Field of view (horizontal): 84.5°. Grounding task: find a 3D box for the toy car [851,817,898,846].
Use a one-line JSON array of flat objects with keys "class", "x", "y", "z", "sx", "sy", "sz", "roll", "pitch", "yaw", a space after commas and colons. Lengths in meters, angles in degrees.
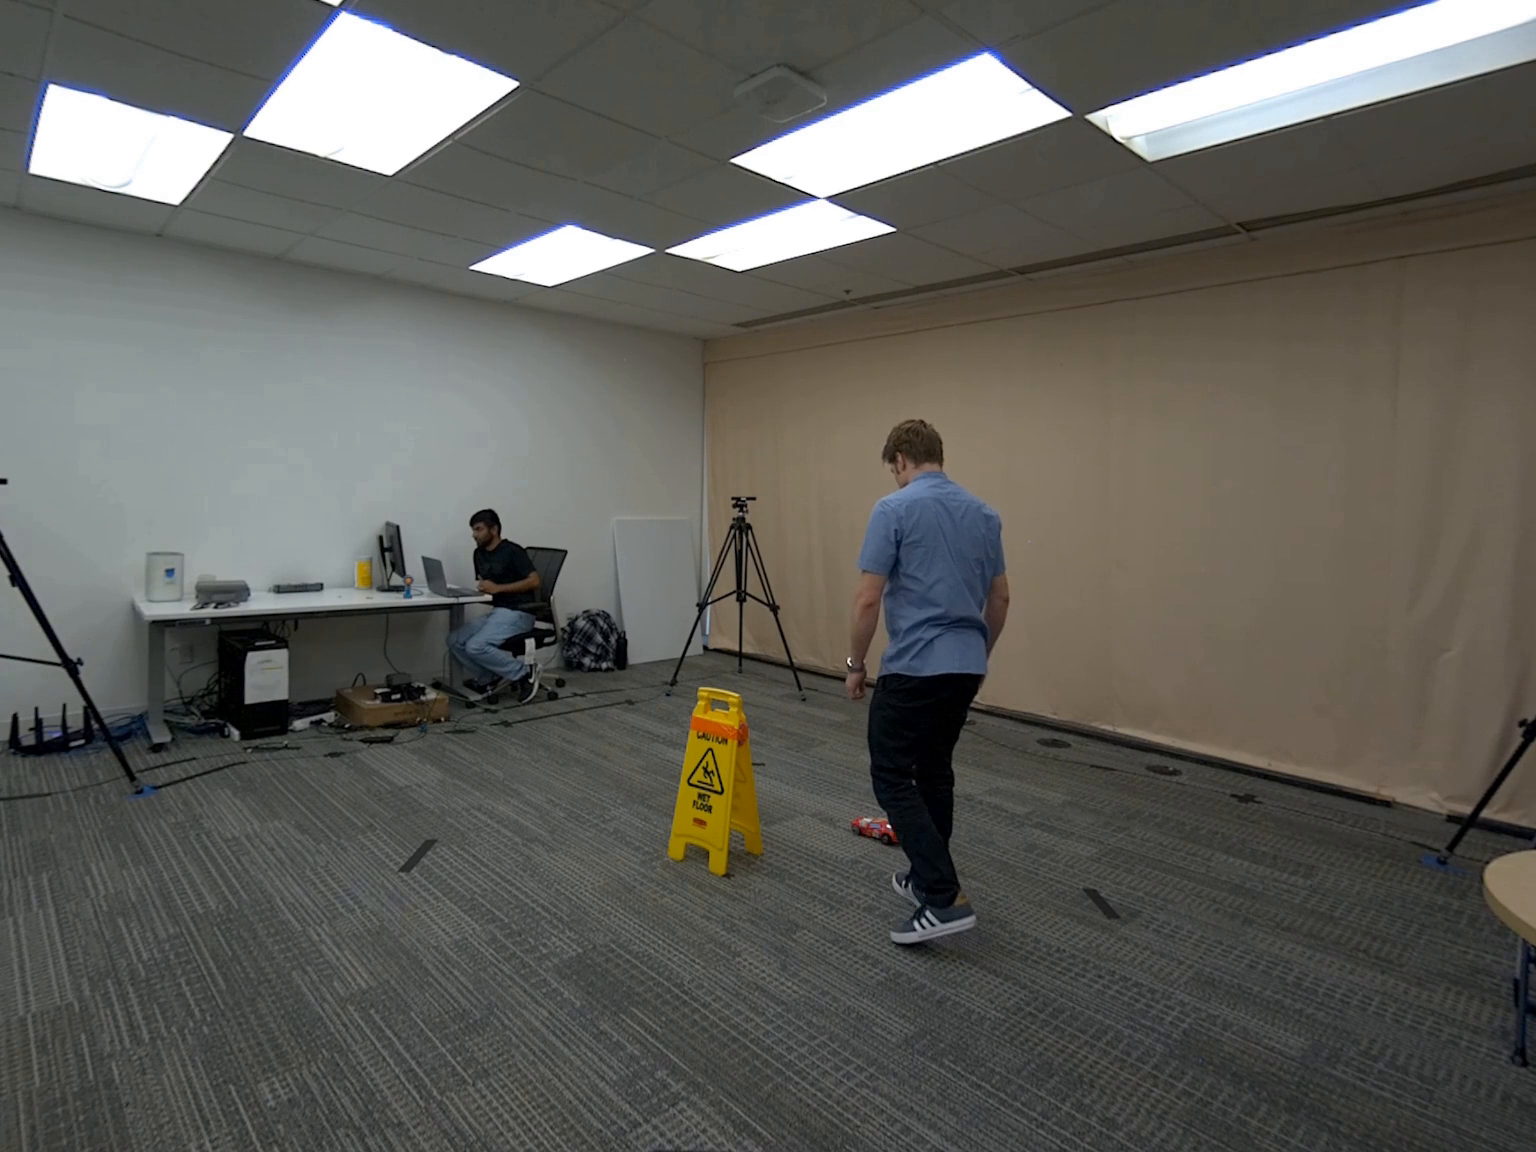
[{"class": "toy car", "x": 0.466, "y": 1.057, "z": 3.501, "sx": 0.259, "sy": 0.083, "sz": 0.127, "roll": -8, "pitch": -3, "yaw": 39}]
